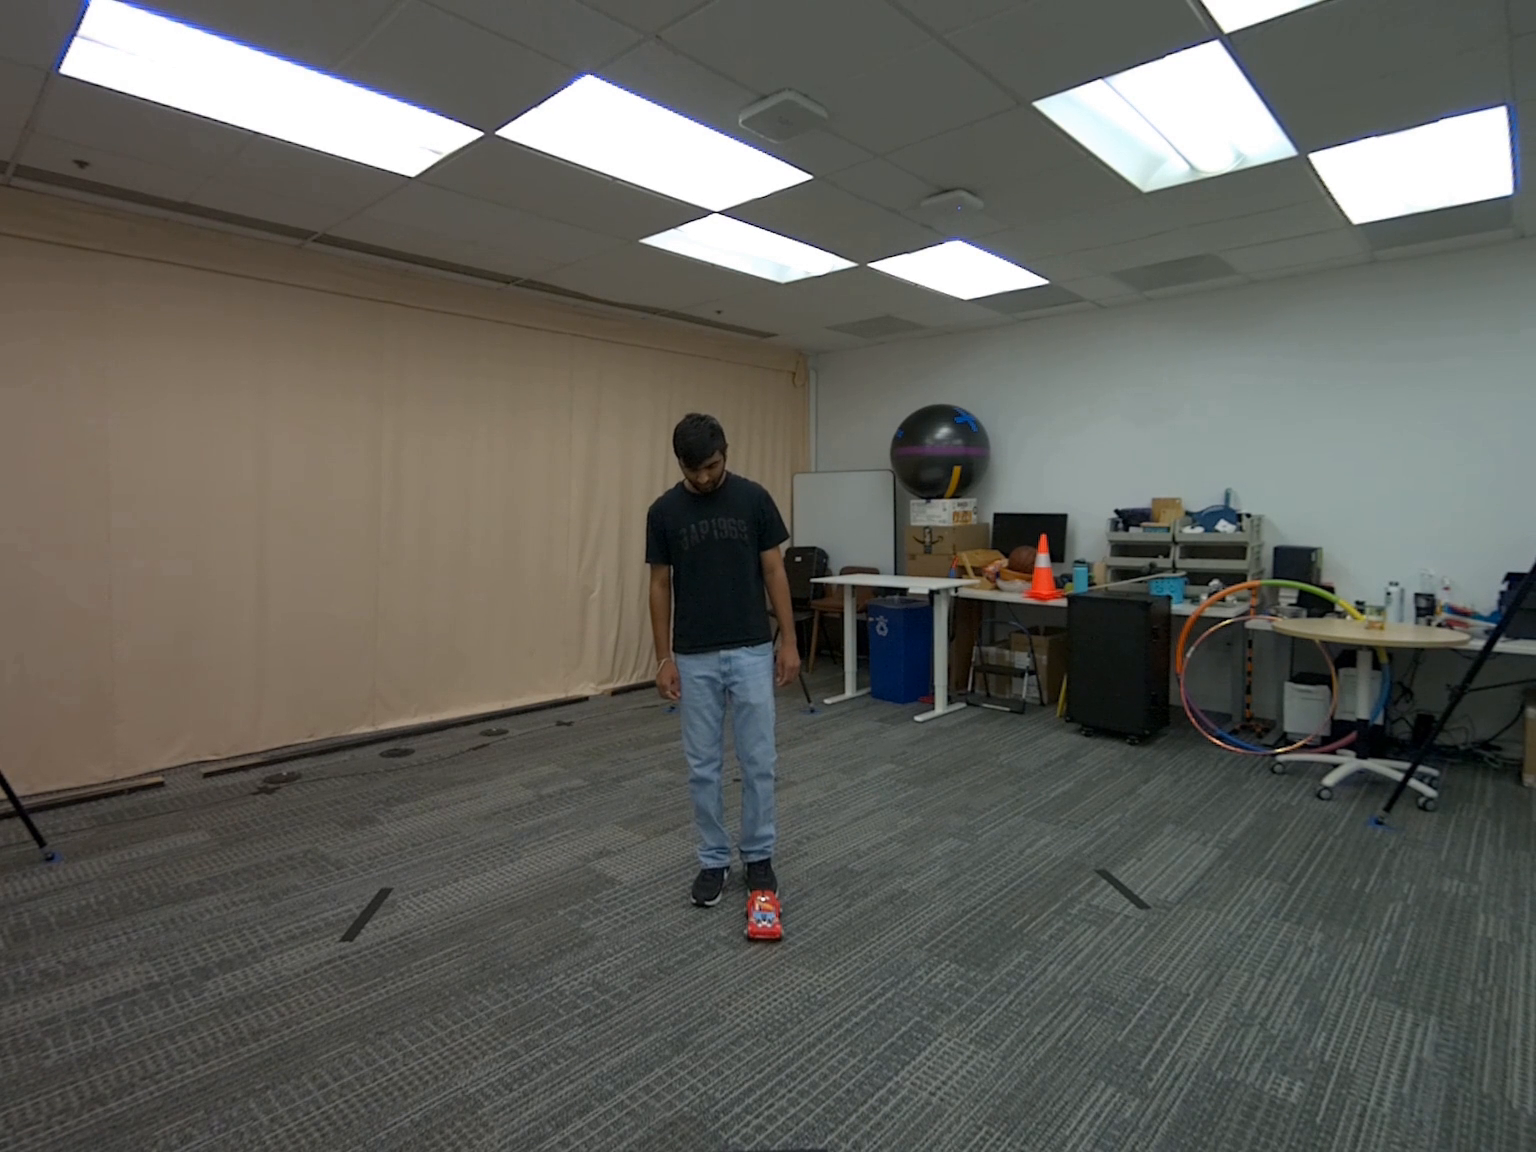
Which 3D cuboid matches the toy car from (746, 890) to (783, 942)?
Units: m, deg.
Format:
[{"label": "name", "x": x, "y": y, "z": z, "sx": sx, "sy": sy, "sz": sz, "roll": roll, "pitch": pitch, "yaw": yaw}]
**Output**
[{"label": "toy car", "x": -0.014, "y": 1.119, "z": 2.796, "sx": 0.130, "sy": 0.082, "sz": 0.257, "roll": 0, "pitch": 16, "yaw": 0}]
